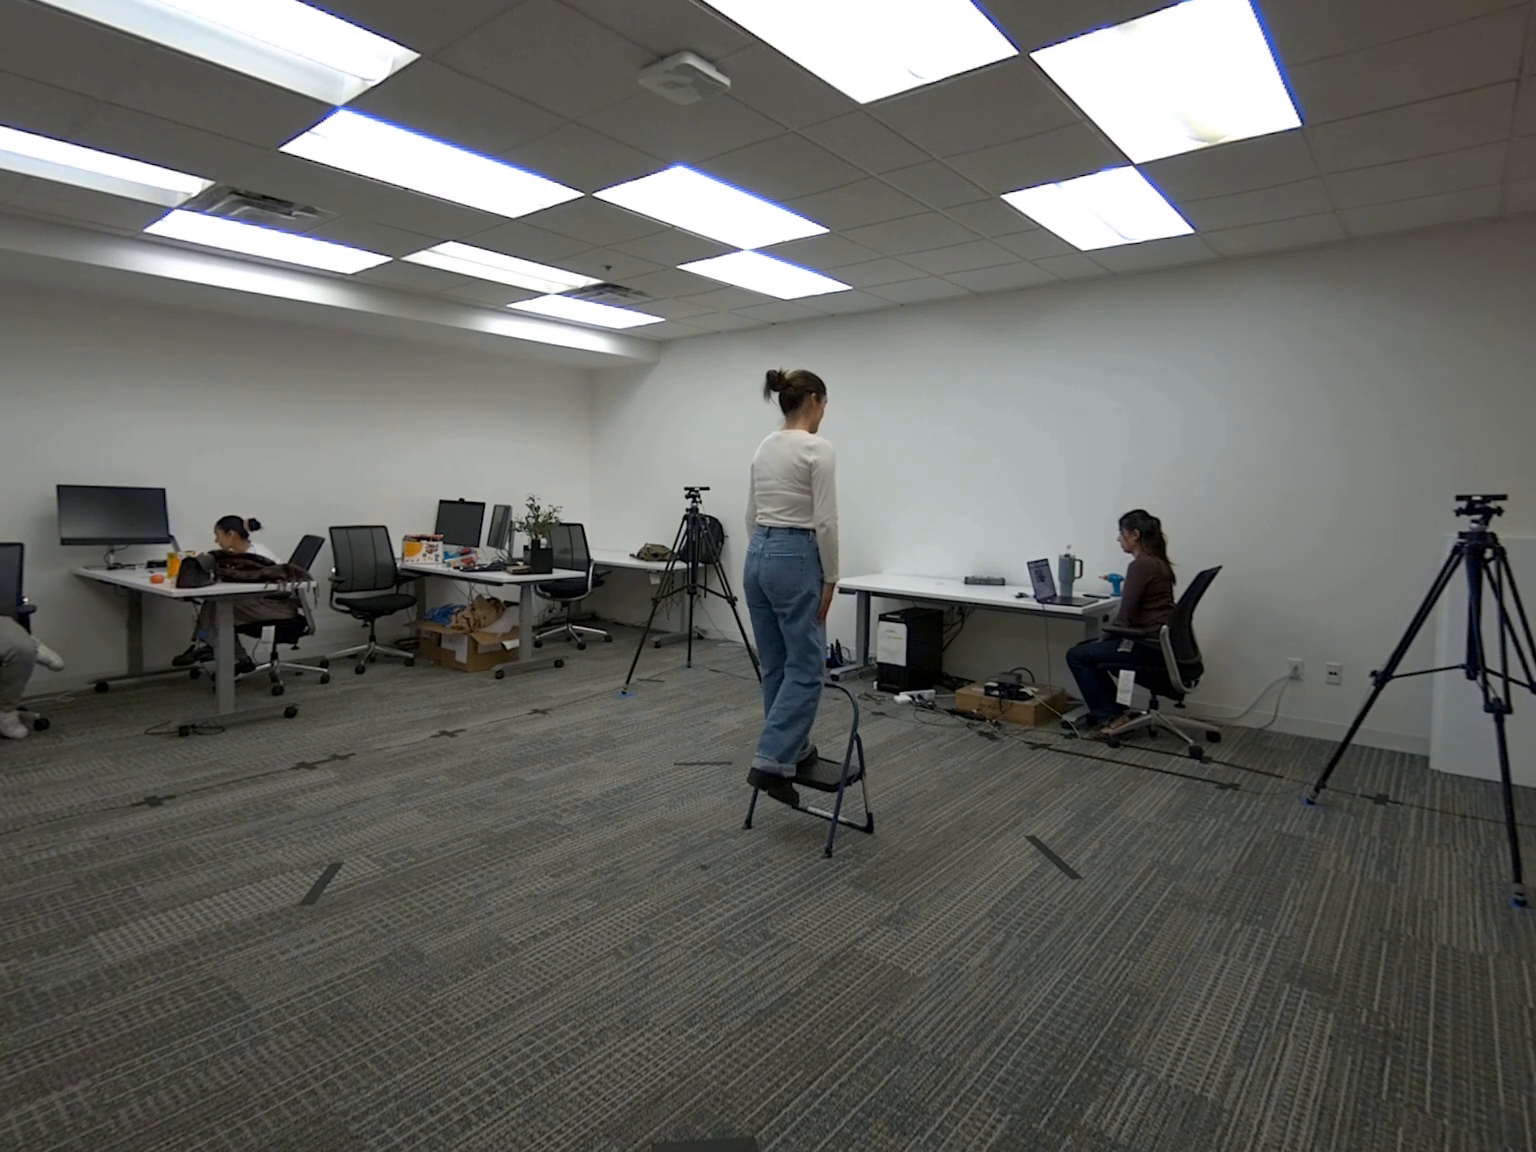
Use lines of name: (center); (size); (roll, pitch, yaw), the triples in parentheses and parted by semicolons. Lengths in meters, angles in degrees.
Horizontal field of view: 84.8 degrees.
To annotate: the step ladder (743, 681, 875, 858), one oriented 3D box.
step ladder: (0.167, 0.735, 3.462); (0.445, 0.604, 0.339); (4, 5, 39)
